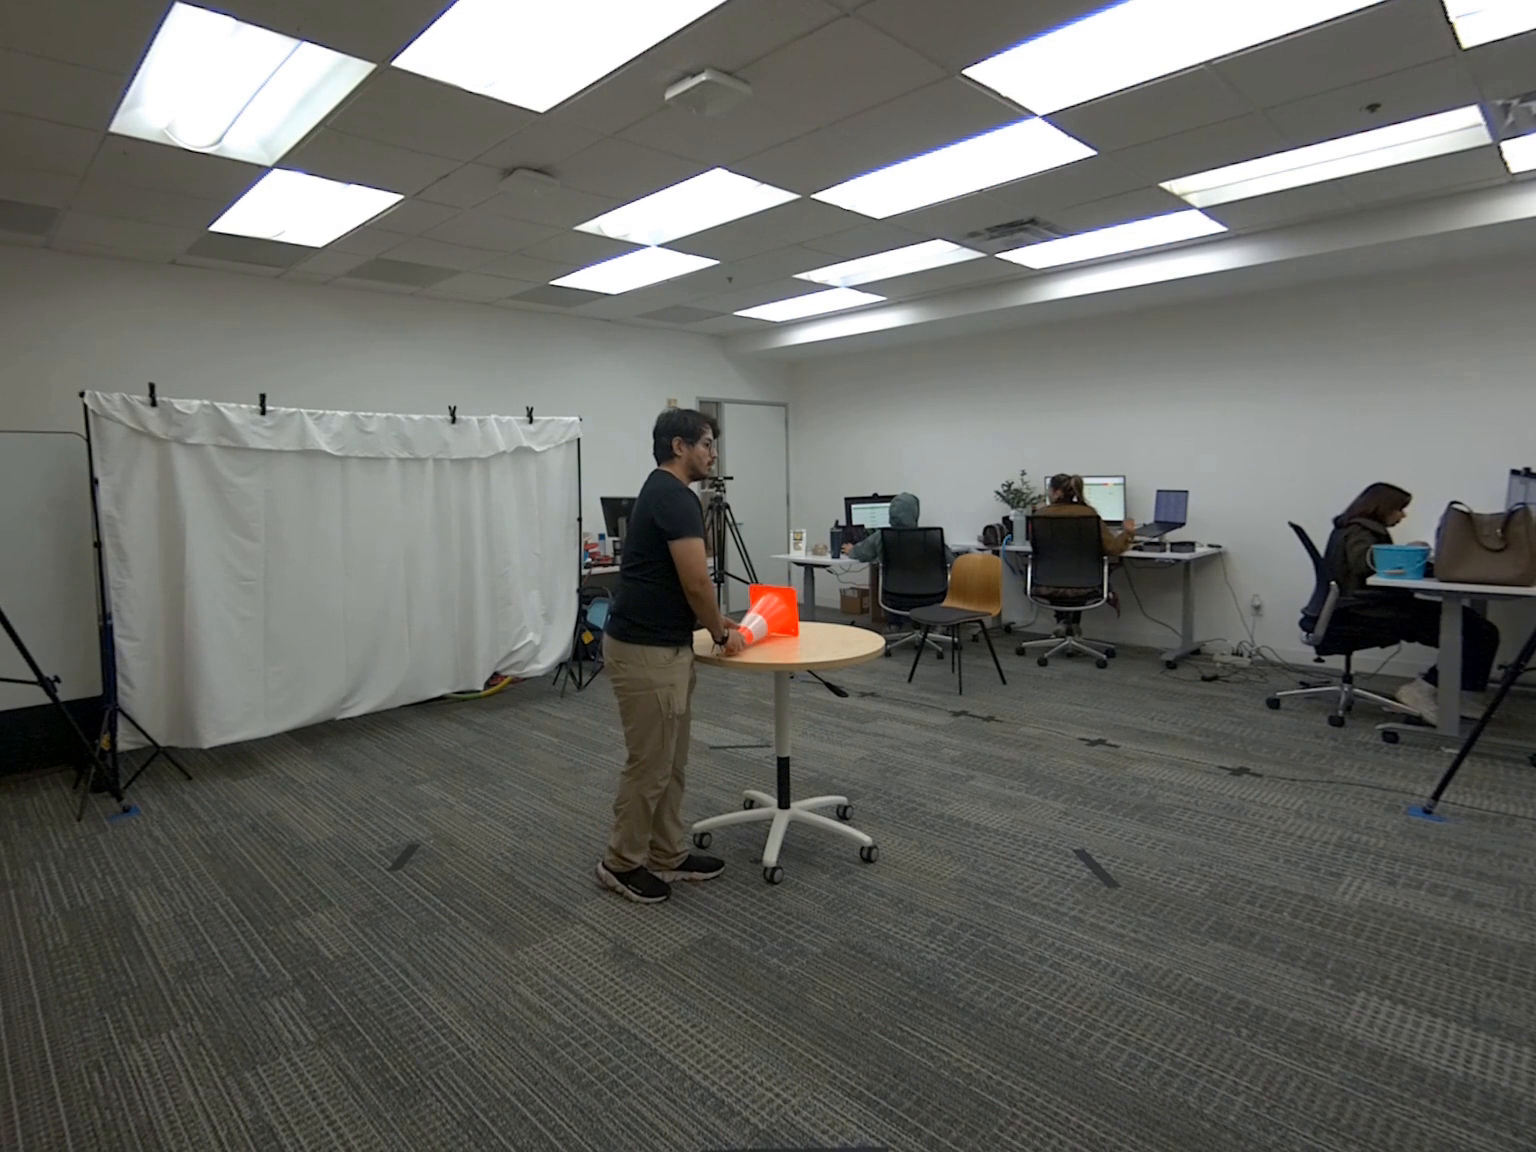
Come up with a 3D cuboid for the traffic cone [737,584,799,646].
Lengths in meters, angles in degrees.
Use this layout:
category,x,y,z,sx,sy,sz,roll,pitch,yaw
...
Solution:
category,x,y,z,sx,sy,sz,roll,pitch,yaw
traffic cone,-0.051,0.197,3.115,0.208,0.201,0.381,5,23,26
